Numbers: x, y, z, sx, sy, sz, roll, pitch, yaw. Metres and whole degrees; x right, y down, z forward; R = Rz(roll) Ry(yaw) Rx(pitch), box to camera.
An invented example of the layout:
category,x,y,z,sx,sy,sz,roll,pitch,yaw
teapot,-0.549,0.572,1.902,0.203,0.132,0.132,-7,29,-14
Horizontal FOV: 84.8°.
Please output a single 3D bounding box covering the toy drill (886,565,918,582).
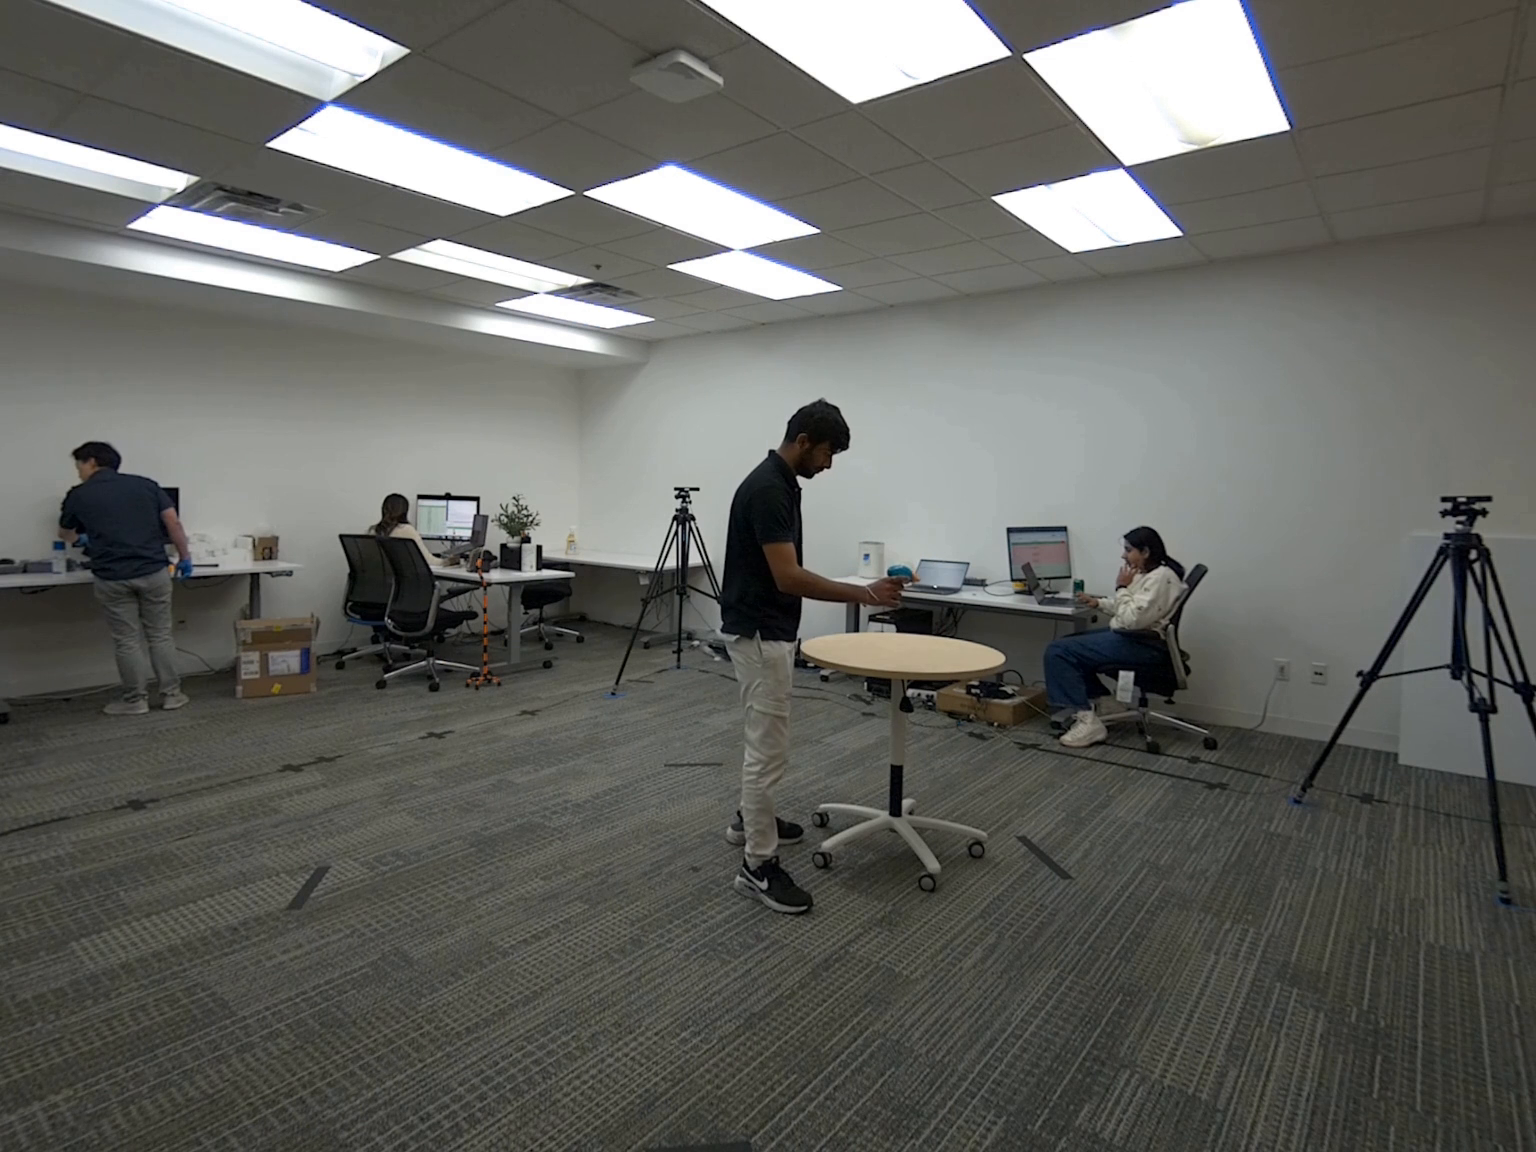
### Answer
category,x,y,z,sx,sy,sz,roll,pitch,yaw
toy drill,0.444,0.035,2.848,0.164,0.146,0.063,16,3,-34
